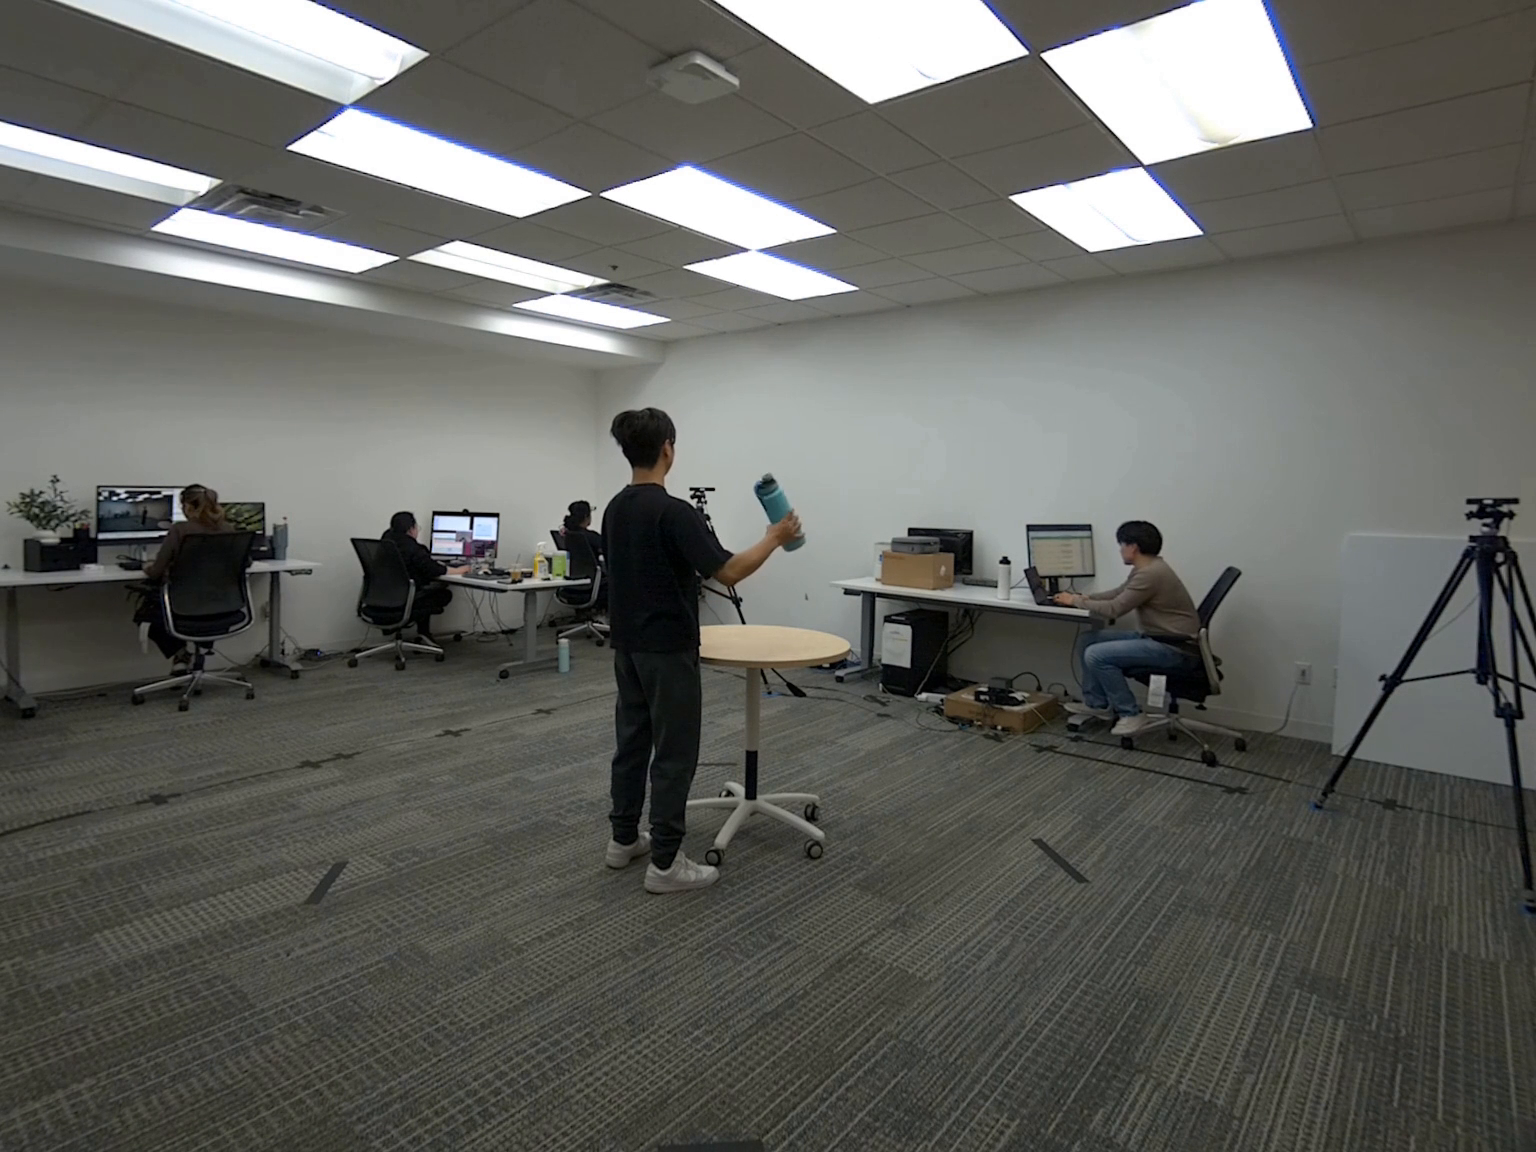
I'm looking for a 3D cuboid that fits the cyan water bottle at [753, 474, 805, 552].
[{"bbox_3d":[0.021,-0.218,3.030,0.093,0.277,0.094,-25,16,7],"label":"cyan water bottle"}]
